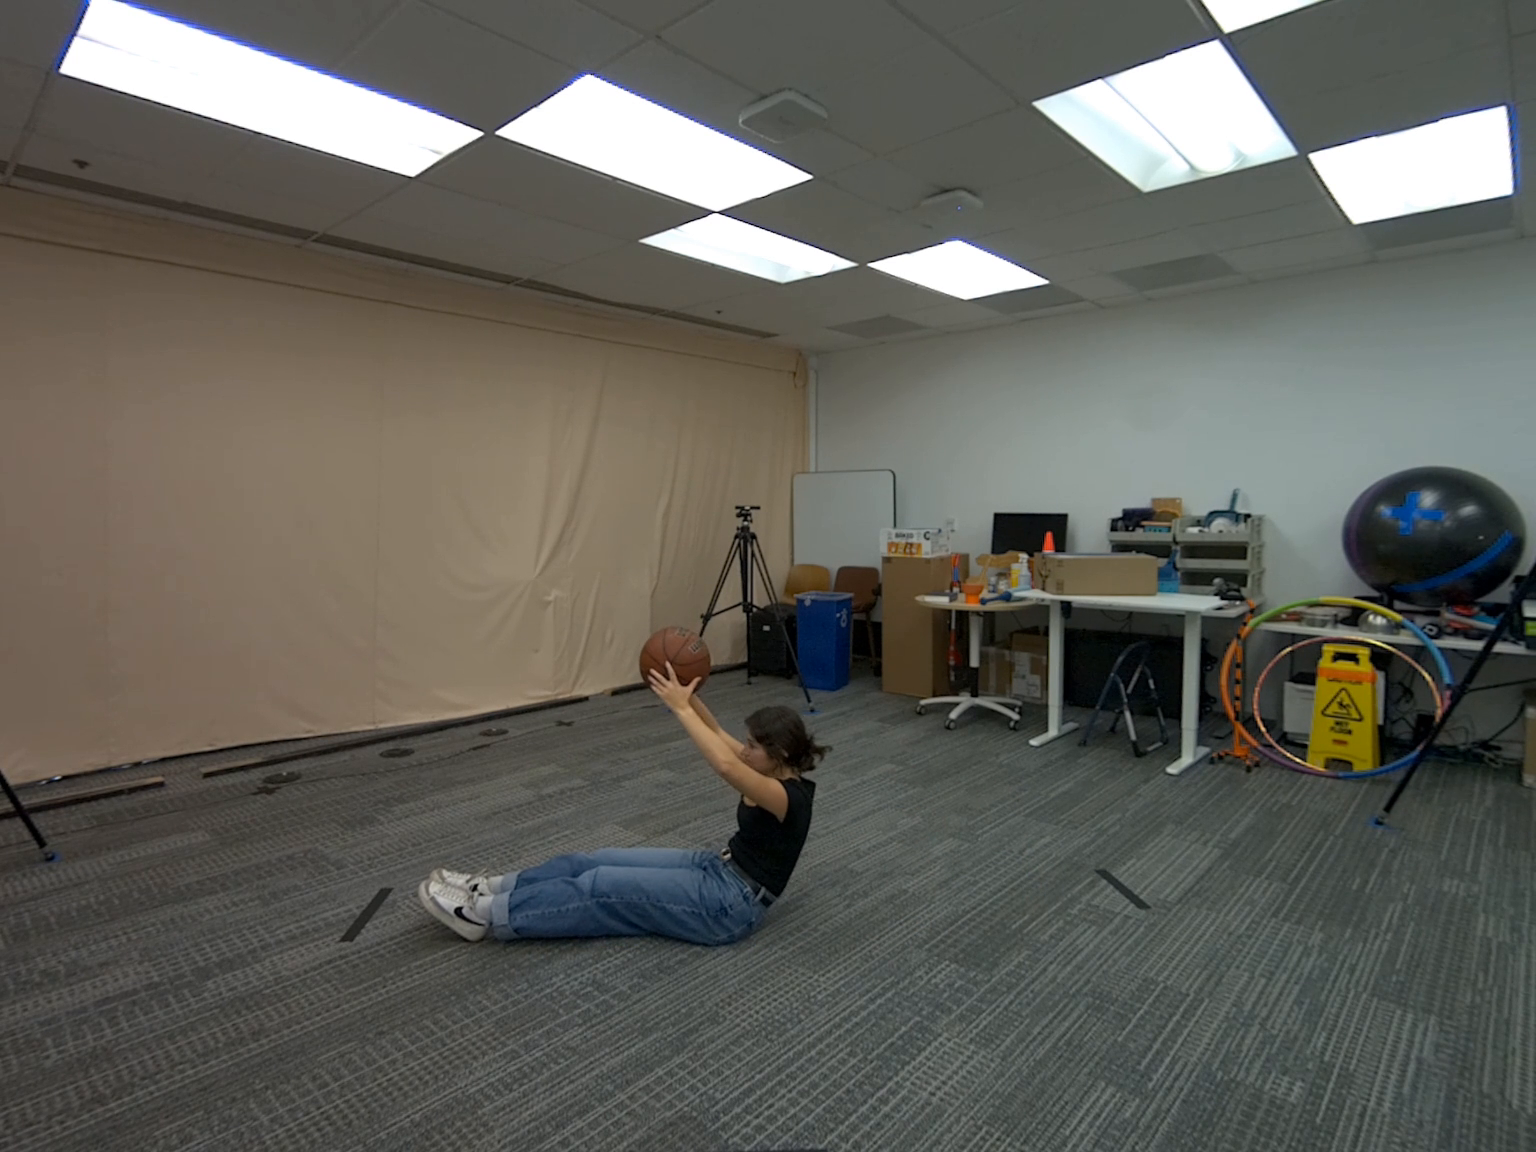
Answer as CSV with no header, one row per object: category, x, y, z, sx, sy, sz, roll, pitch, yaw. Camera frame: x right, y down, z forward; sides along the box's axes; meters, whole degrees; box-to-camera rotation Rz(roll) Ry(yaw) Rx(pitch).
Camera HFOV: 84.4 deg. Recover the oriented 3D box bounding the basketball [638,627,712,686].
basketball,-0.304,0.290,2.805,0.236,0.235,0.237,0,4,-2
